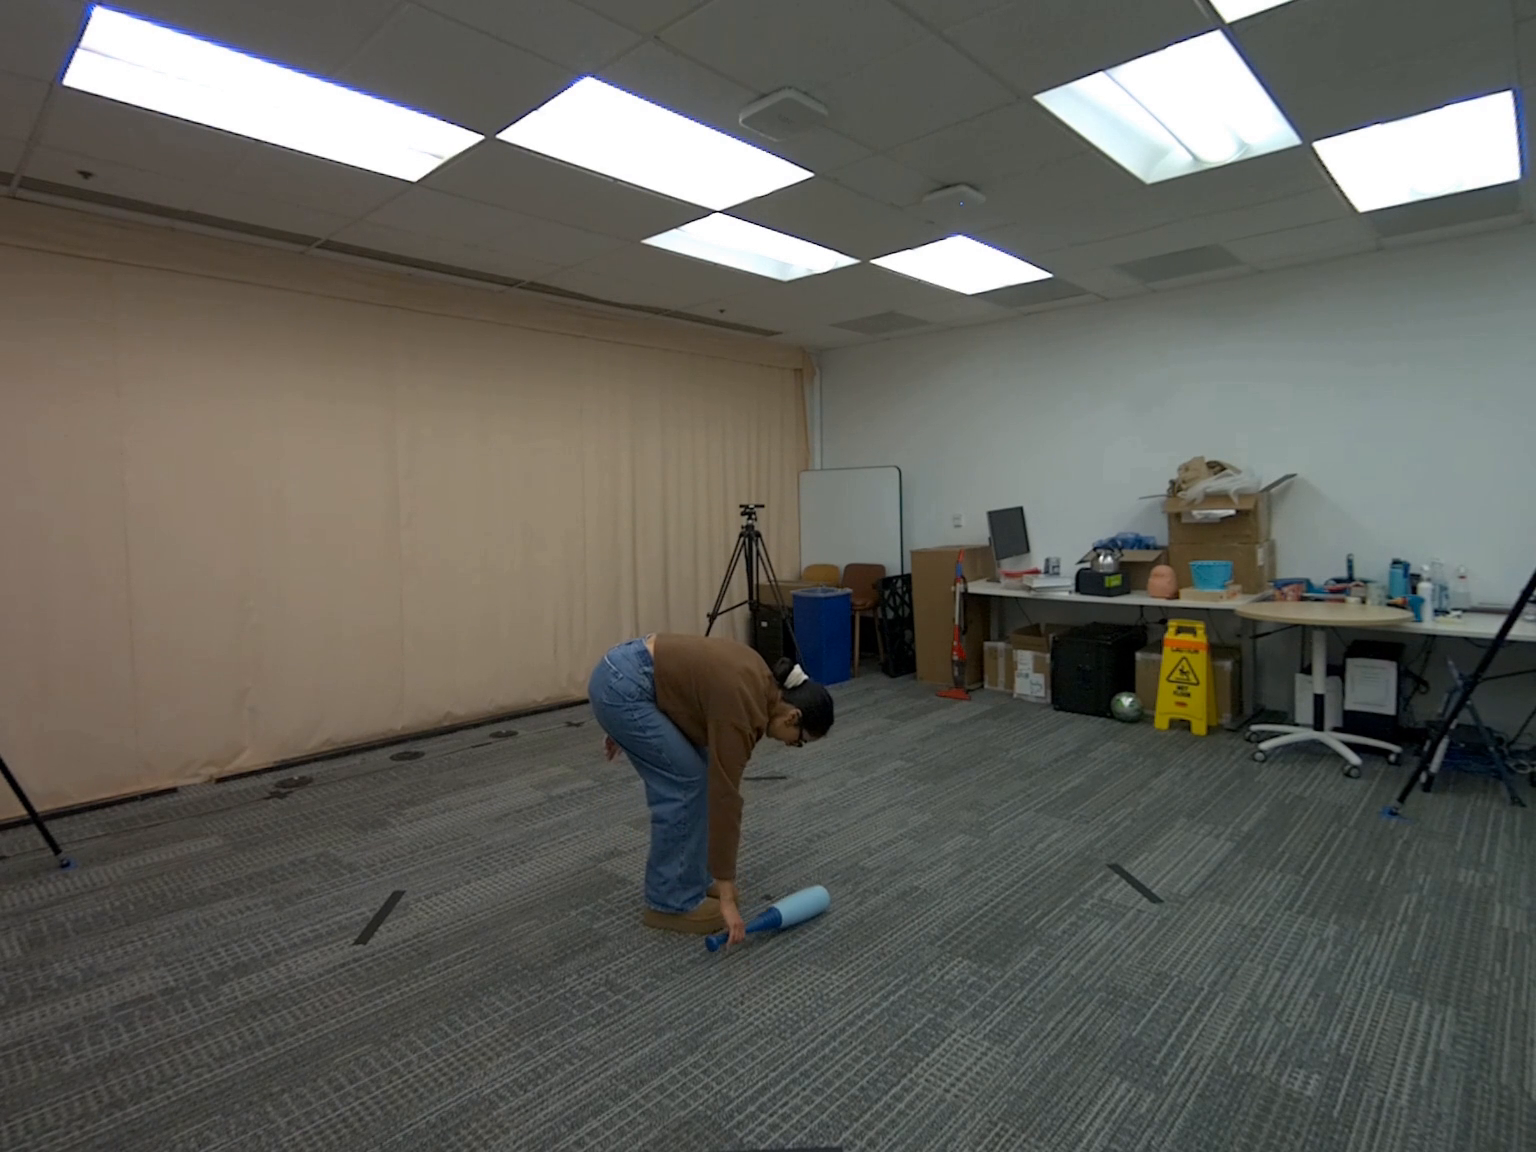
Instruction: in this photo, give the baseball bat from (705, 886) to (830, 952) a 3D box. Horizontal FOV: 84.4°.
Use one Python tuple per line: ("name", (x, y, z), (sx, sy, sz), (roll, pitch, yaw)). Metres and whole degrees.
("baseball bat", (0.005, 1.102, 2.698), (0.092, 0.089, 0.526), (3, 4, 44))
